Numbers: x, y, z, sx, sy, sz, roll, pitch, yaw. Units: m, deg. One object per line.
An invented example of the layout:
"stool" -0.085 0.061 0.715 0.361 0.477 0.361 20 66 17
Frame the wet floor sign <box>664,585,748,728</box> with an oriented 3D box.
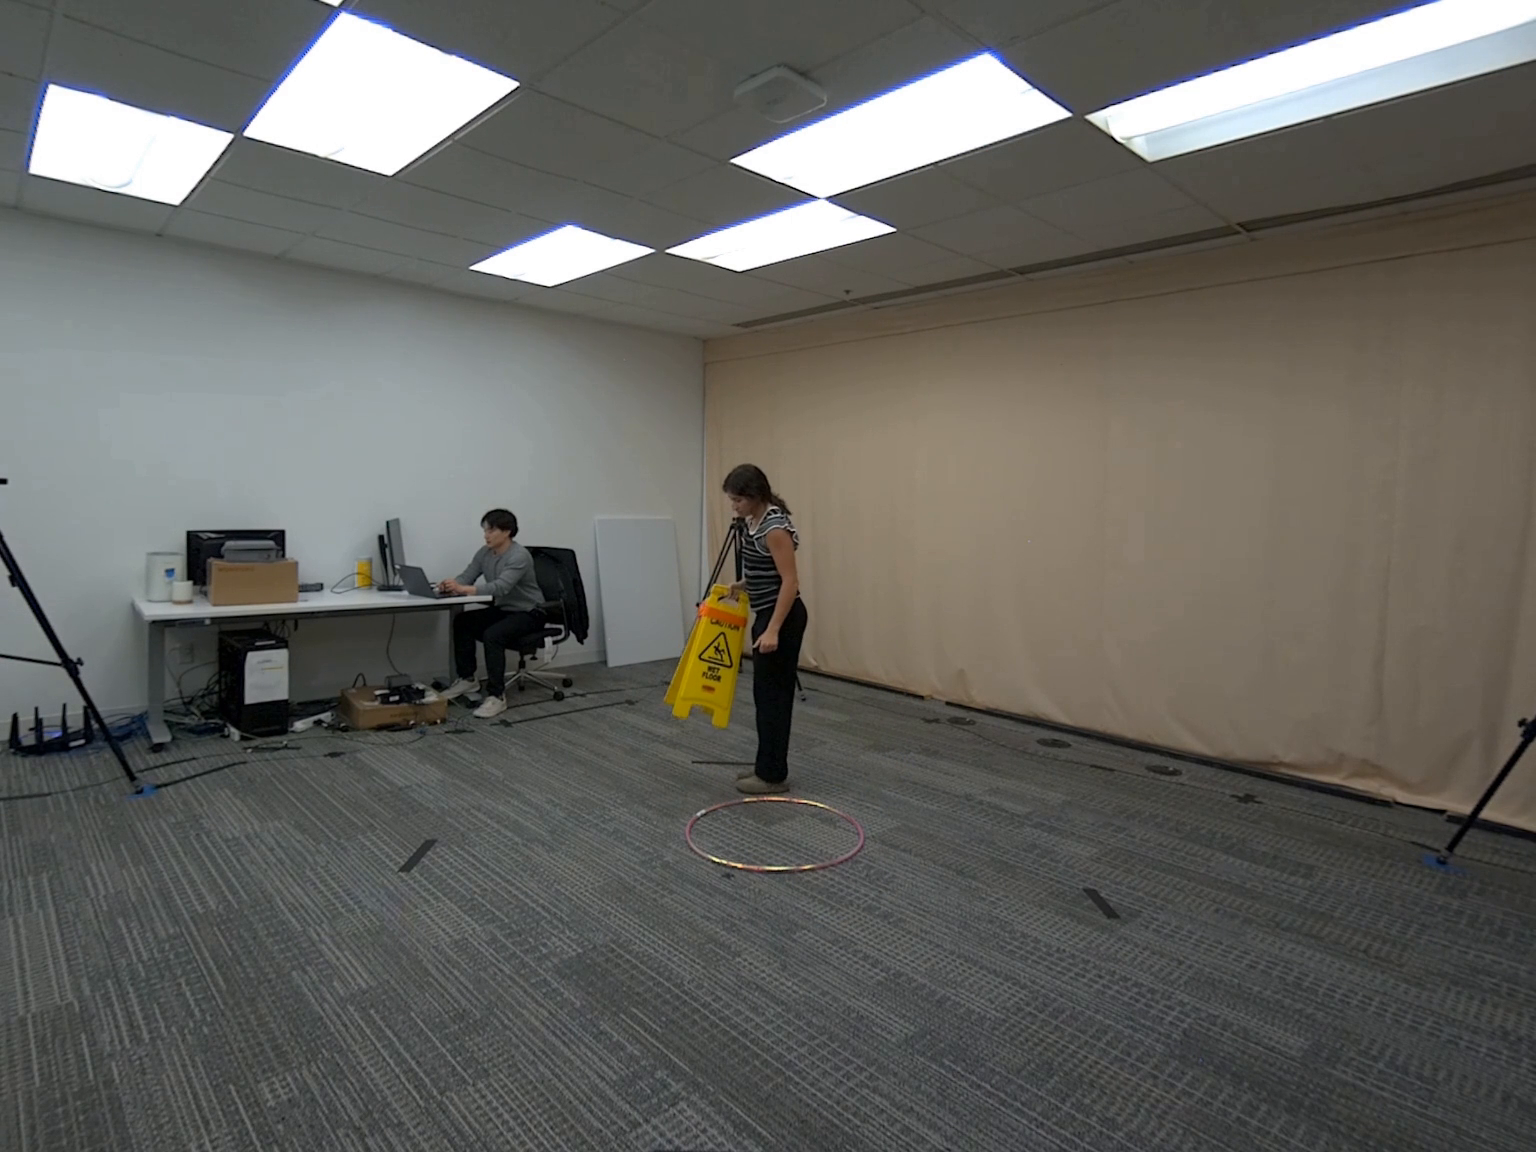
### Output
"wet floor sign" -0.271 0.374 4.132 0.278 0.645 0.295 15 1 -18
